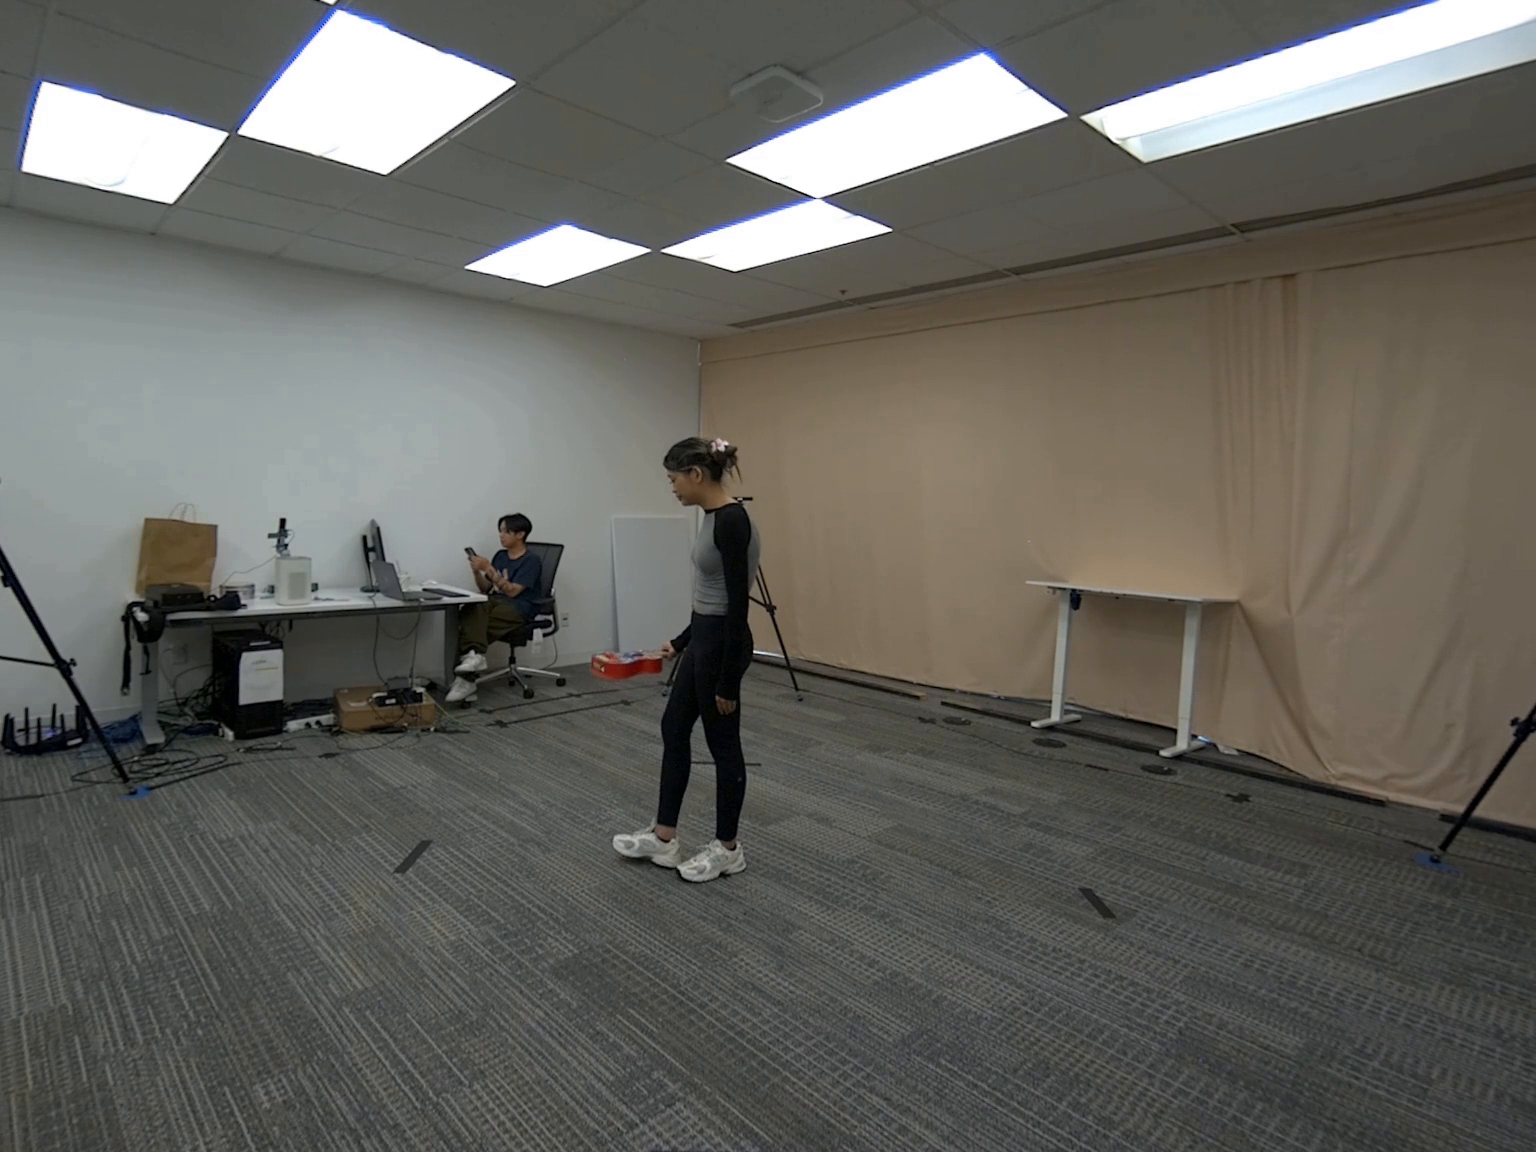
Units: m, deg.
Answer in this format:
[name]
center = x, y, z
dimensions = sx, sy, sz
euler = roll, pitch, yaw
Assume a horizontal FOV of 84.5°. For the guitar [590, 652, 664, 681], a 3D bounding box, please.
[guitar]
center = -0.432, 0.330, 3.248
dimensions = 0.488, 0.070, 0.197
euler = -1, 8, -27
